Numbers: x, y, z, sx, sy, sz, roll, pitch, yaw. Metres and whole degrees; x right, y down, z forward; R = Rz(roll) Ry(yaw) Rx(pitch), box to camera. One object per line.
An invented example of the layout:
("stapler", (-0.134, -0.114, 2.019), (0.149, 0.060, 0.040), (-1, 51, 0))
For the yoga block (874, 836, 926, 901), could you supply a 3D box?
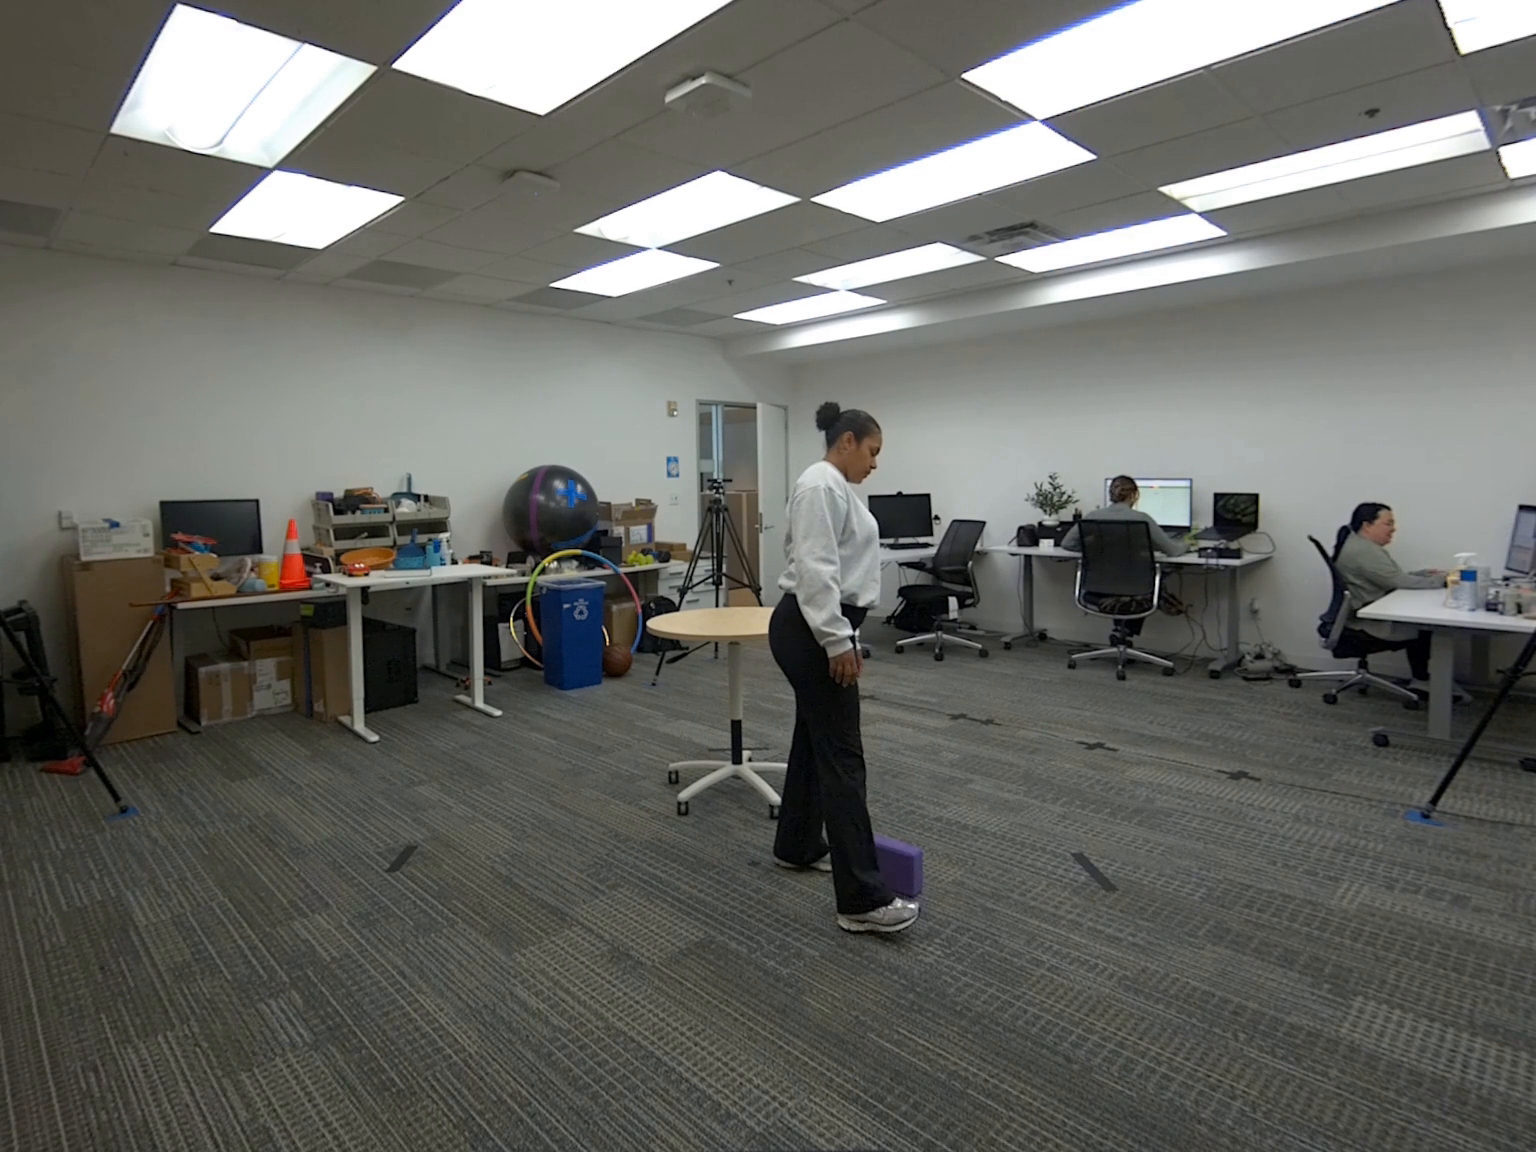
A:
("yoga block", (0.410, 0.977, 2.914), (0.236, 0.148, 0.074), (6, 10, 39))
